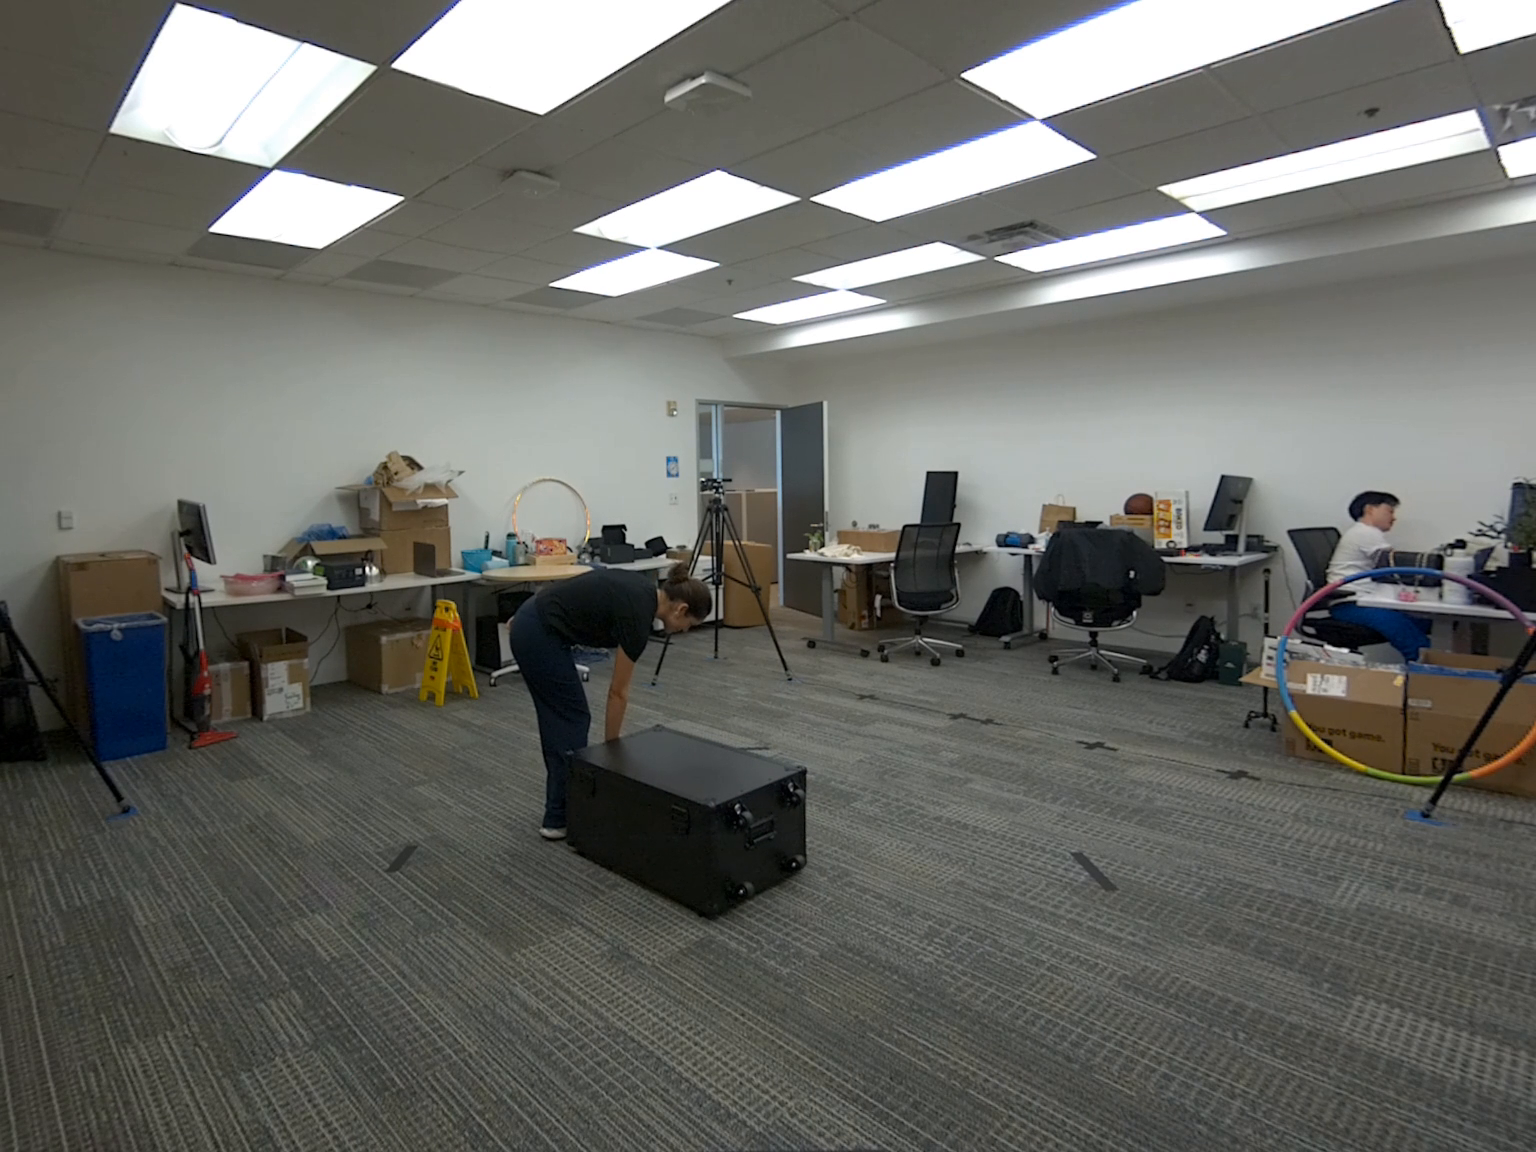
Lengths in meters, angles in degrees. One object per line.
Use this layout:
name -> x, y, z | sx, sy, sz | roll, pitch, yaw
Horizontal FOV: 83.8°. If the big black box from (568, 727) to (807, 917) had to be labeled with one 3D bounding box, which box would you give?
big black box -> -0.291, 0.859, 3.103 | 0.888, 0.394, 0.508 | 3, 8, 42
